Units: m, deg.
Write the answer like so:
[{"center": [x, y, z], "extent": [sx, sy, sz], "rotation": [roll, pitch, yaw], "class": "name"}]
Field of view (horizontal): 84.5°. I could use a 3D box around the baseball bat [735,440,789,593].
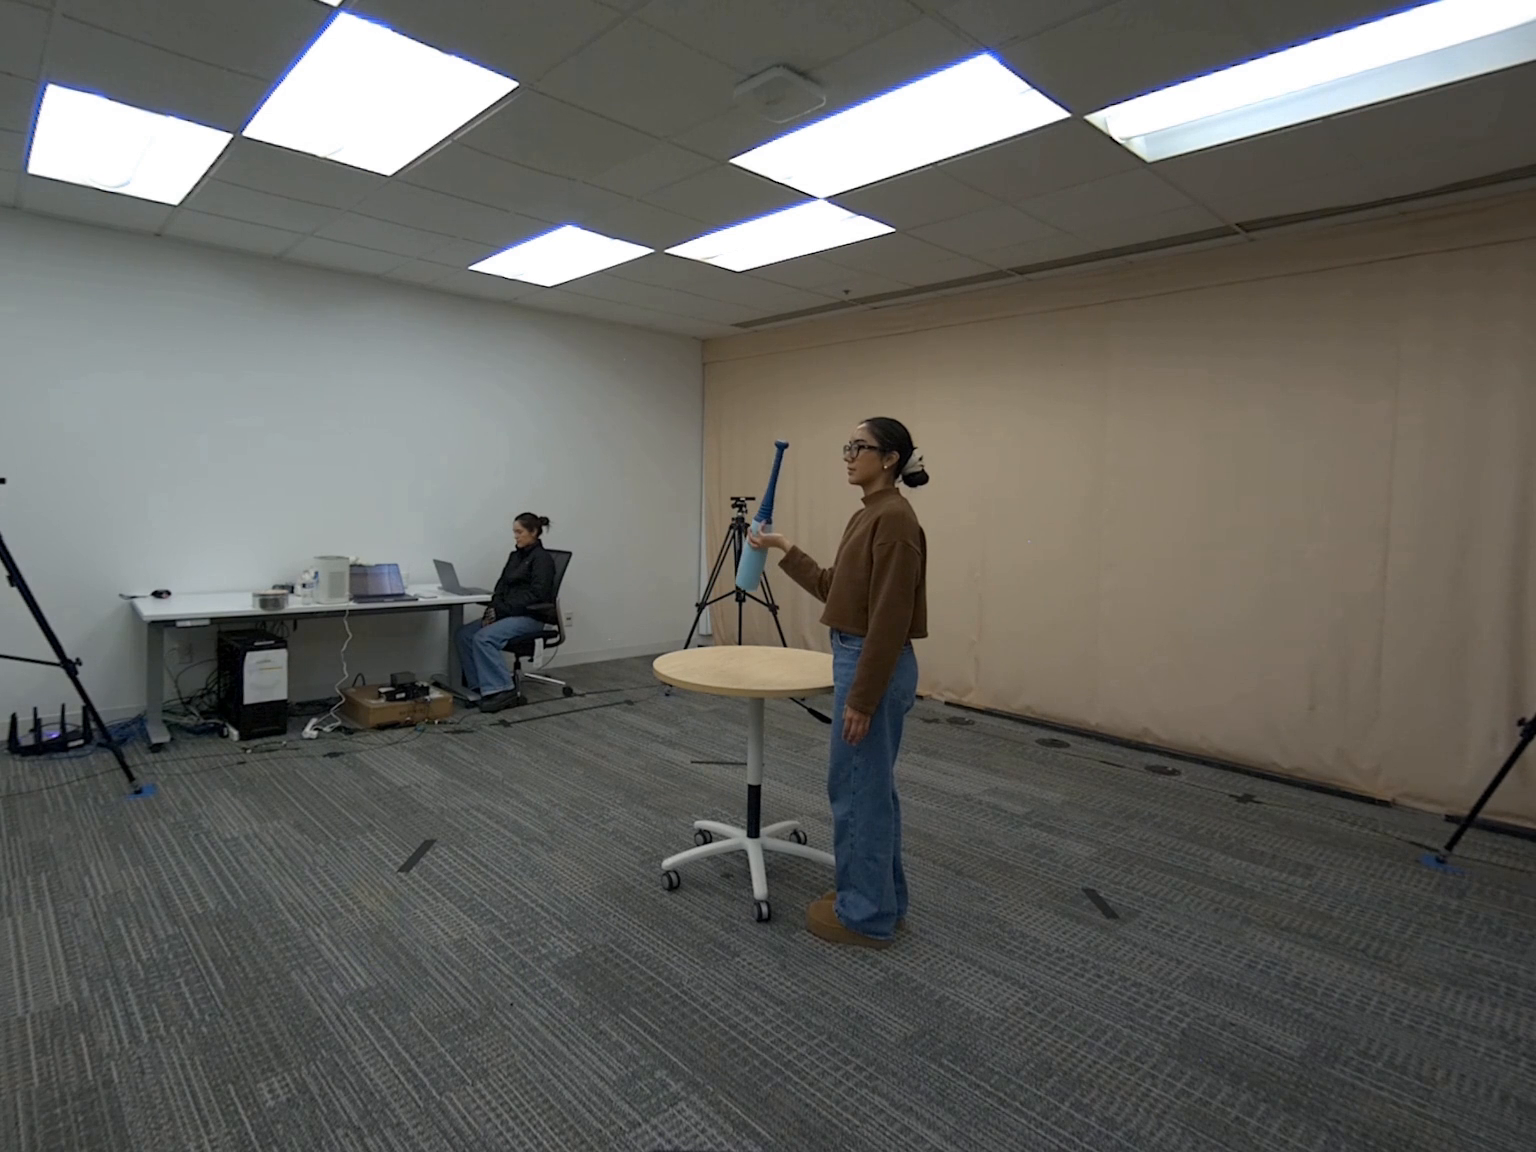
[{"center": [-0.017, -0.208, 2.944], "extent": [0.089, 0.539, 0.090], "rotation": [13, 13, -5], "class": "baseball bat"}]
